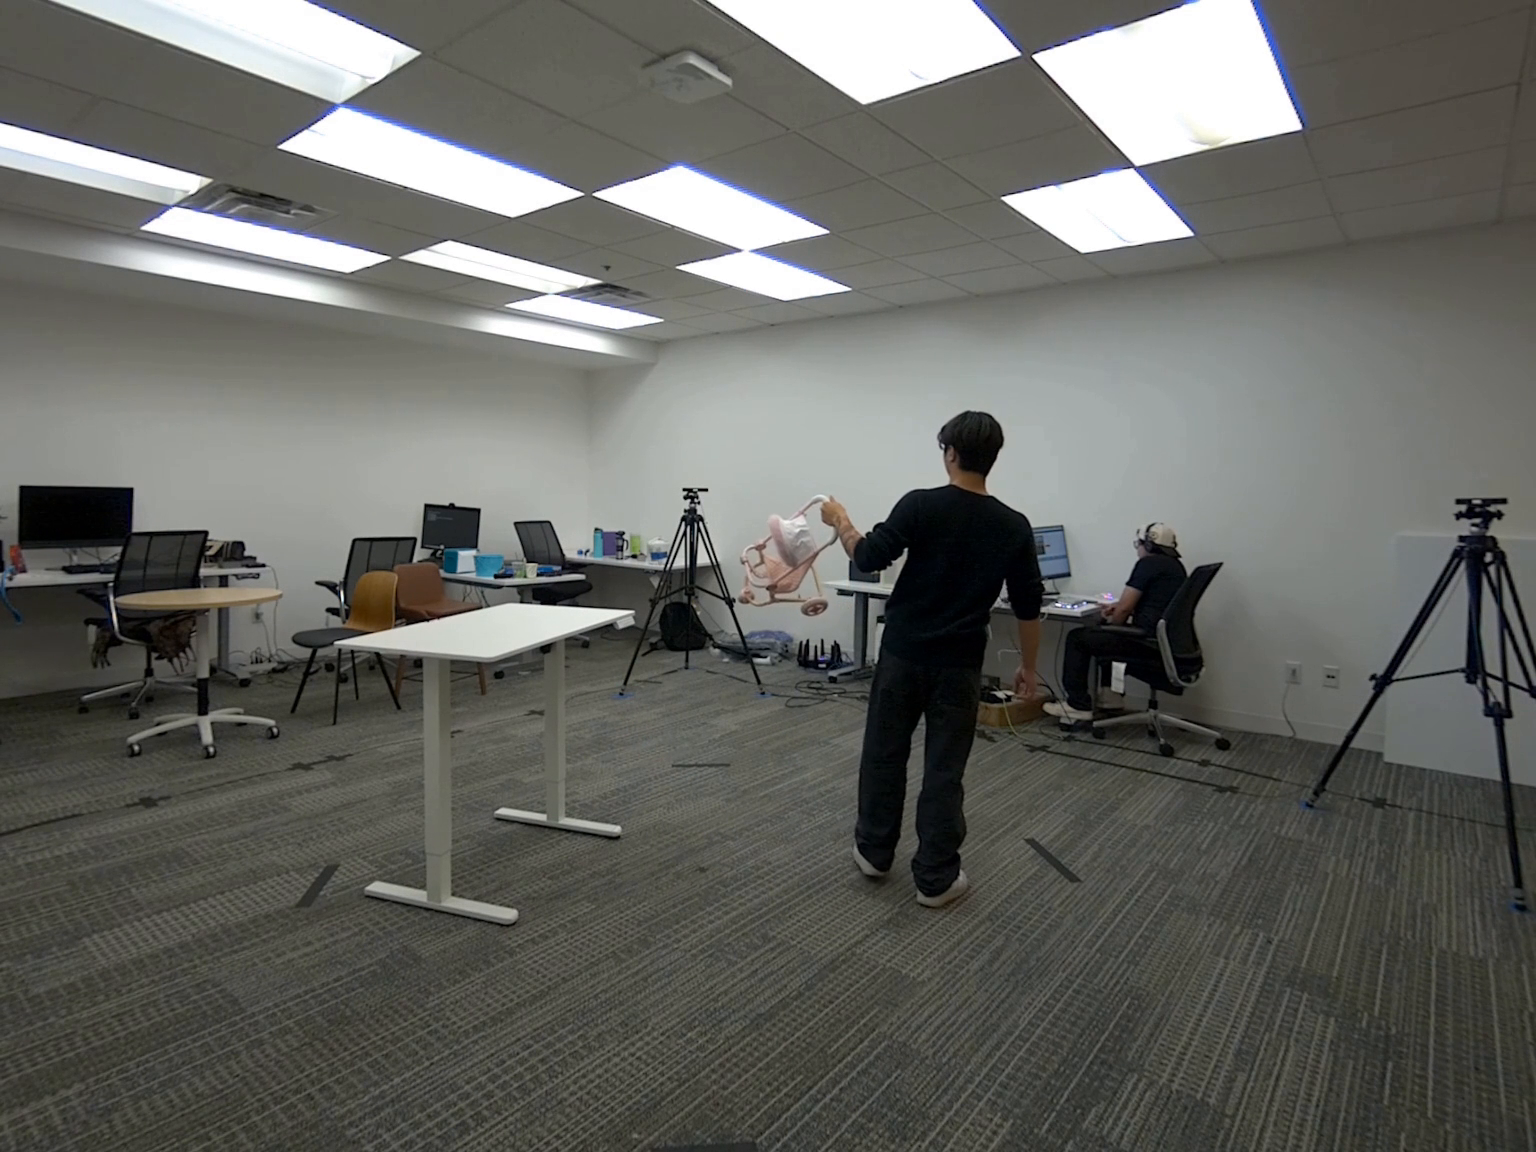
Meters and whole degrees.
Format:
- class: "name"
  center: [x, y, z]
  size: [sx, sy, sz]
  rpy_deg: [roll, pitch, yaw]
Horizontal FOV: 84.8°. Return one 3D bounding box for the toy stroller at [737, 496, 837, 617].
- class: "toy stroller"
  center: [0.048, -0.059, 3.276]
  size: [0.339, 0.291, 0.522]
  rpy_deg: [-5, -35, -8]
